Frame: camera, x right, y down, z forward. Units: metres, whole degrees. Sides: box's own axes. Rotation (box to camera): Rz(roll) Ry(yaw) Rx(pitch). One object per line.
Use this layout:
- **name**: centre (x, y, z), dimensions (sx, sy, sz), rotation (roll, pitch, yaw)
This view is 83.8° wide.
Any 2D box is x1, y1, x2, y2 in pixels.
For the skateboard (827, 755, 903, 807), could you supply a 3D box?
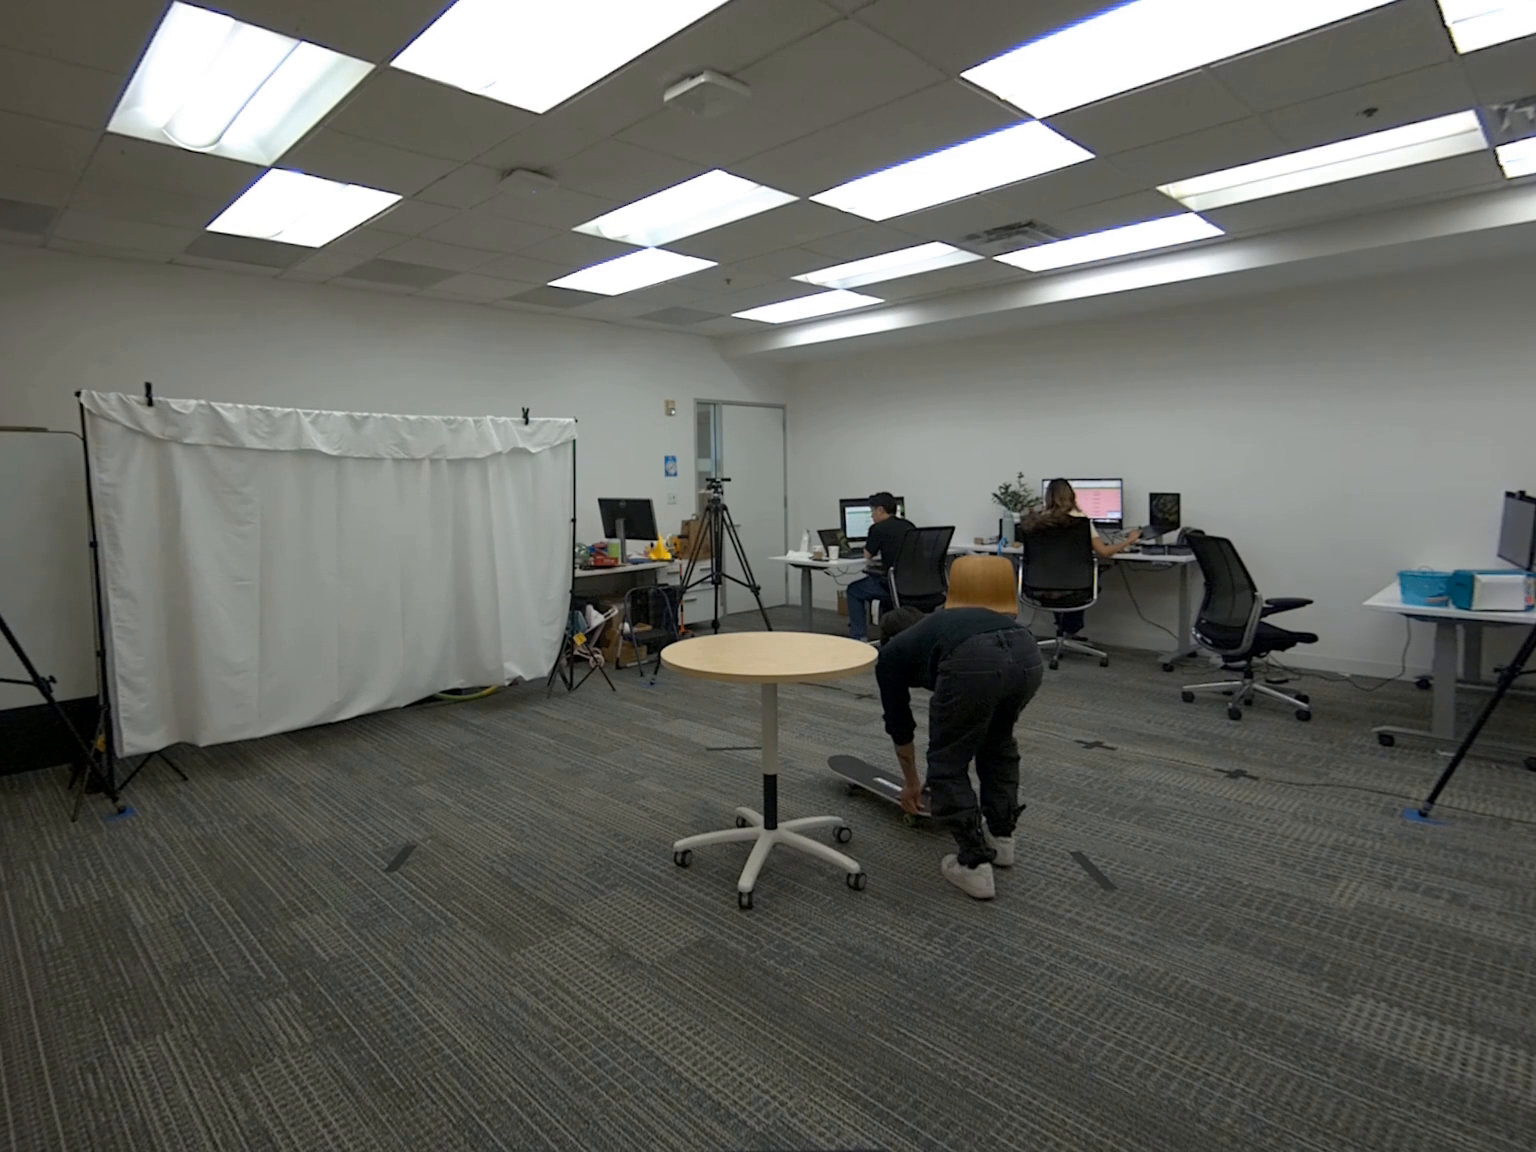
- **skateboard**: centre (0.524, 0.920, 3.617), dimensions (0.189, 0.110, 0.807), rotation (-4, 7, -30)
